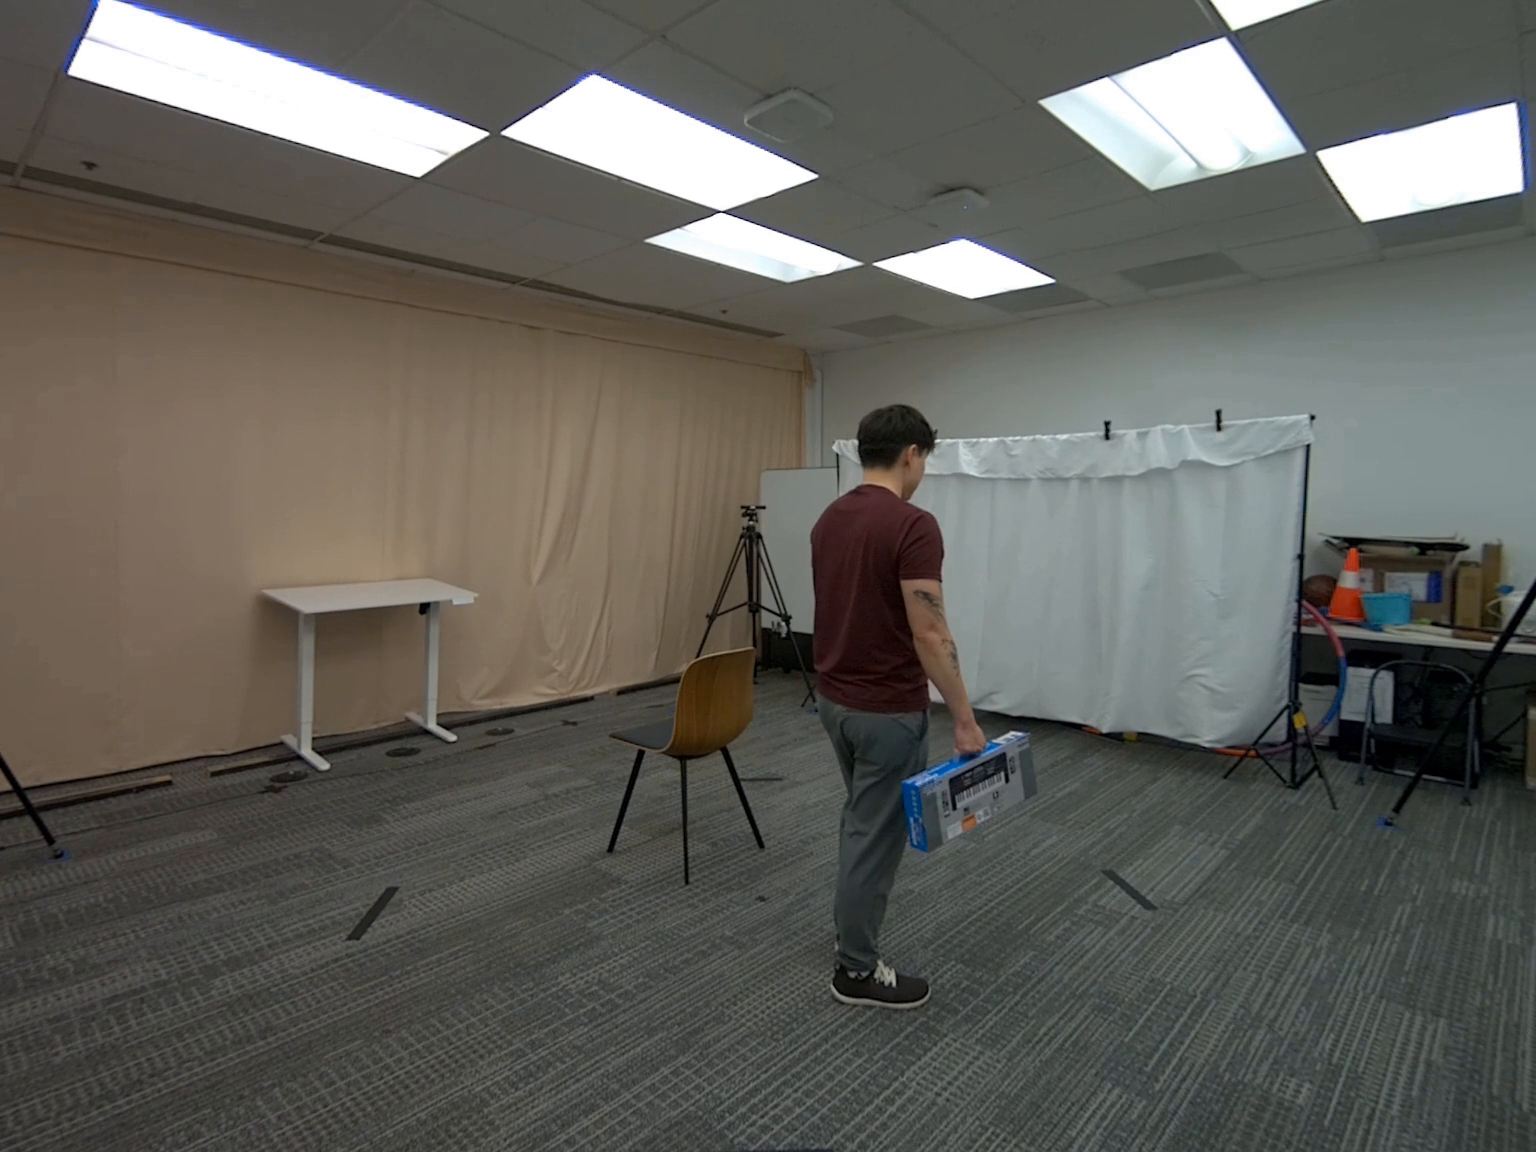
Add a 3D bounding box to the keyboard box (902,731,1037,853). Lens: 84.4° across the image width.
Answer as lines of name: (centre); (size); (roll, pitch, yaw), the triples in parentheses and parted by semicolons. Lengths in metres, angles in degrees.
keyboard box: (0.535, 0.555, 2.192); (0.426, 0.175, 0.061); (-13, 7, -33)
